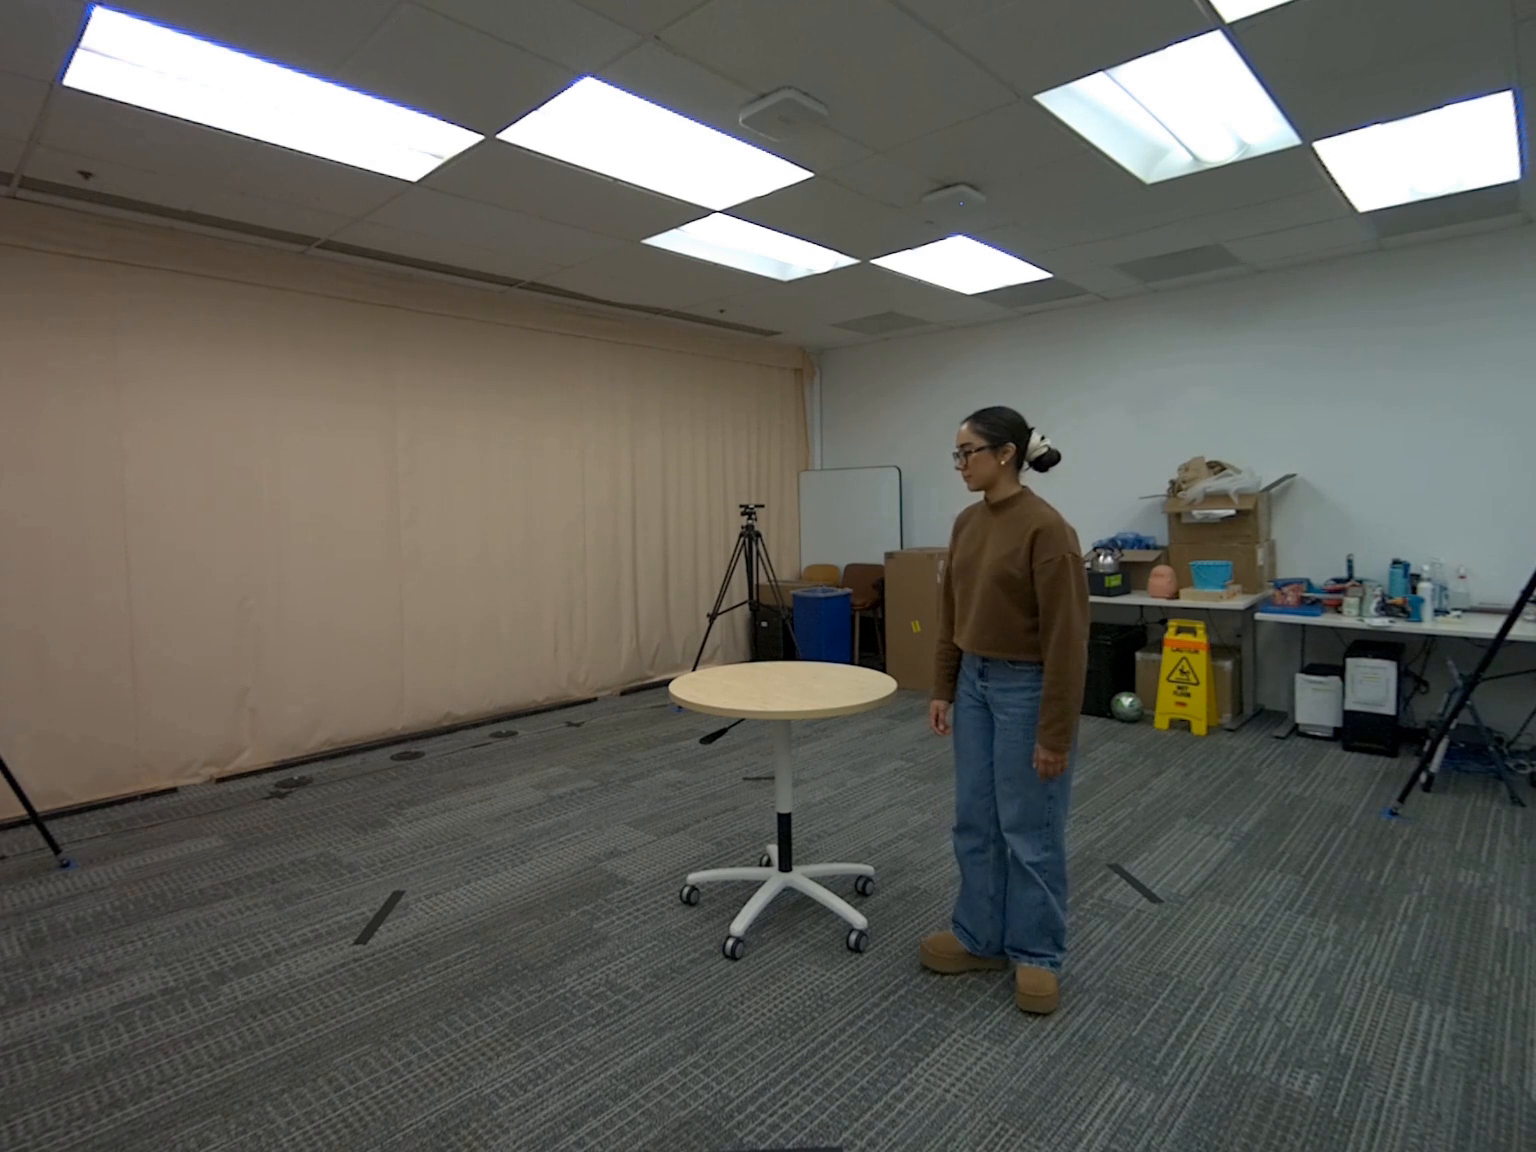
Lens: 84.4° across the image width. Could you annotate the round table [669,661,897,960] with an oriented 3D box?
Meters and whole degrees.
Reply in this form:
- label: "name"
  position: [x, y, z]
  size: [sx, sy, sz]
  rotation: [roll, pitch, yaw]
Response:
- label: "round table"
  position: [0.061, 0.757, 2.872]
  size: [0.763, 0.792, 0.767]
  rotation: [-1, 4, -2]
